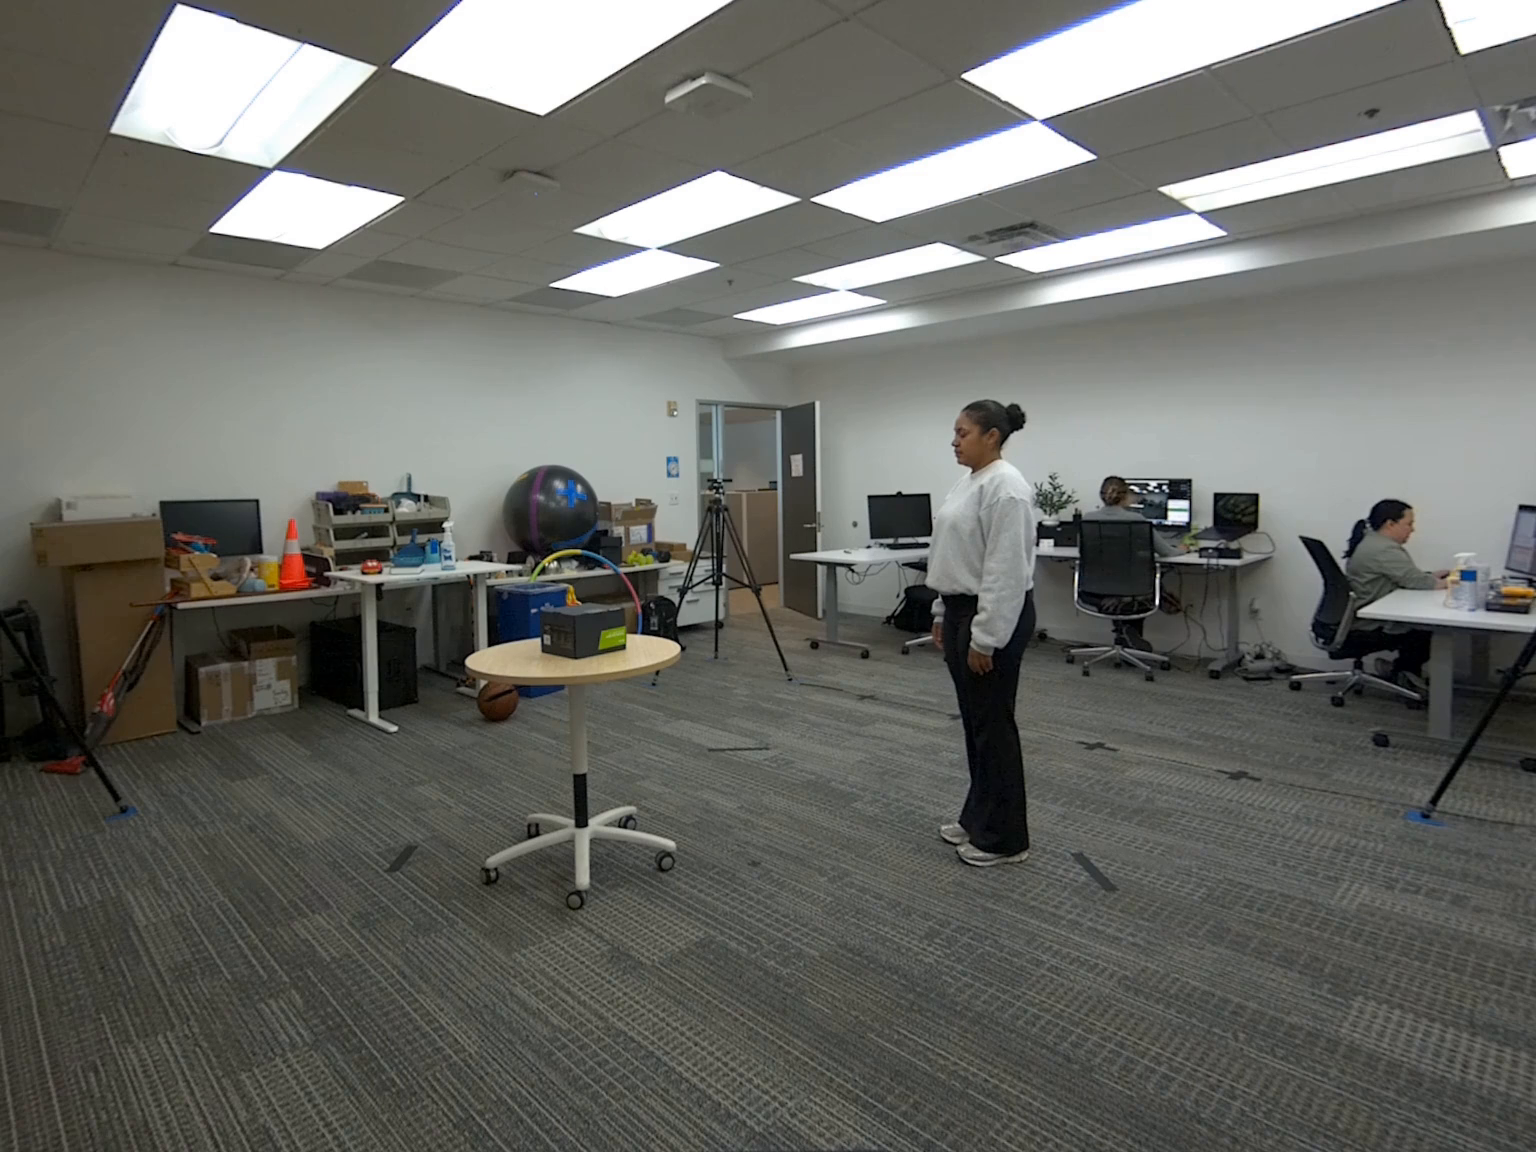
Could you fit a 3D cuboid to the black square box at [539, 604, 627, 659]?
[{"bbox_3d":[-0.668,0.193,3.112,0.223,0.155,0.222,4,7,43],"label":"black square box"}]
